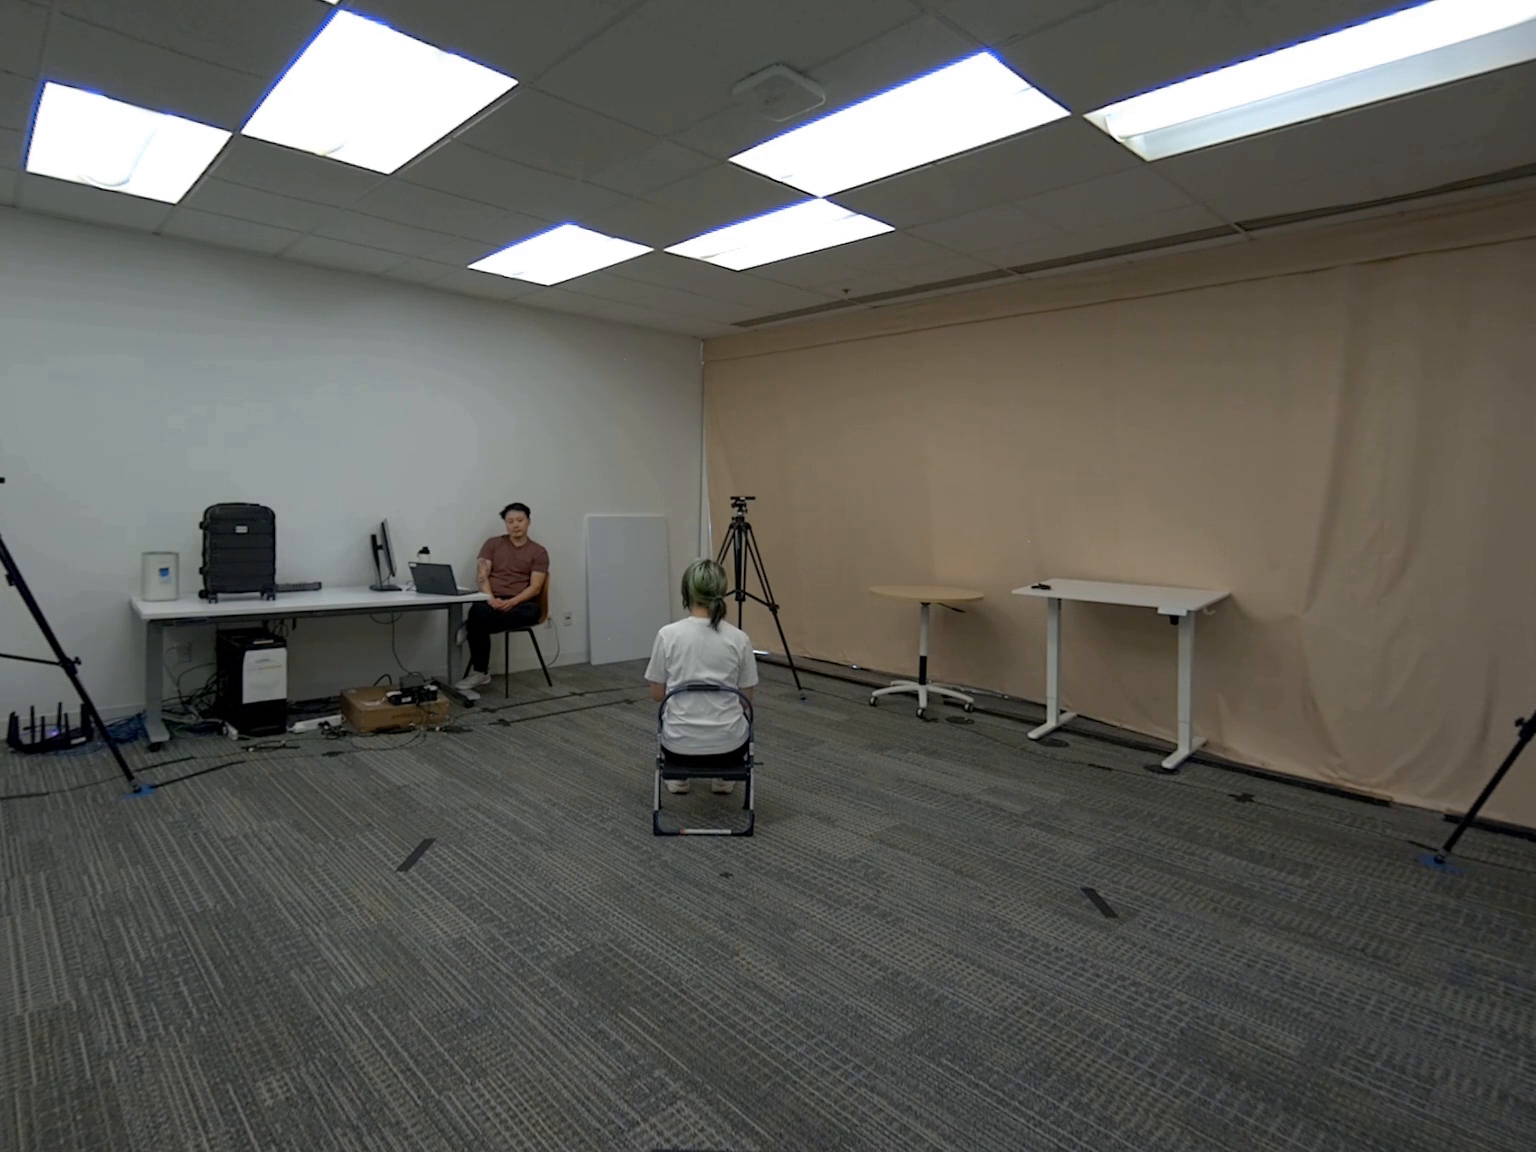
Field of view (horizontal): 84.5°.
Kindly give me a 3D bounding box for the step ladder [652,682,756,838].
[{"bbox_3d":[-0.282,0.760,3.613,0.429,0.605,0.351,1,2,-5],"label":"step ladder"}]
